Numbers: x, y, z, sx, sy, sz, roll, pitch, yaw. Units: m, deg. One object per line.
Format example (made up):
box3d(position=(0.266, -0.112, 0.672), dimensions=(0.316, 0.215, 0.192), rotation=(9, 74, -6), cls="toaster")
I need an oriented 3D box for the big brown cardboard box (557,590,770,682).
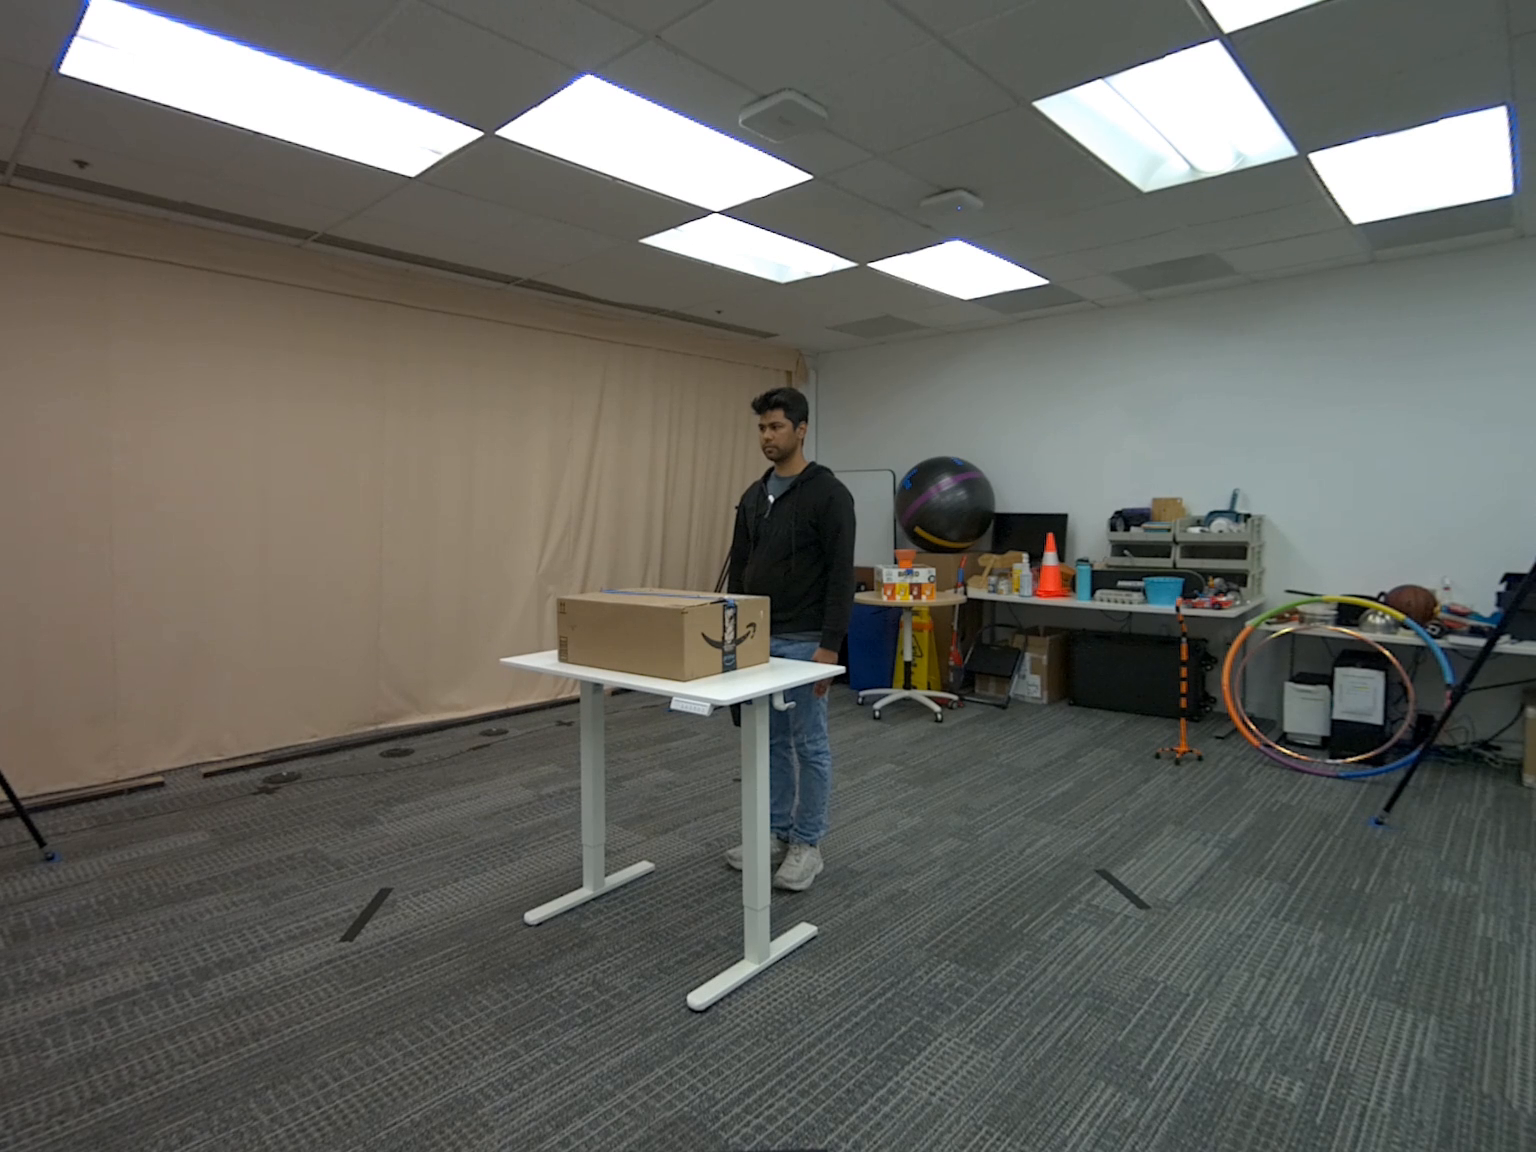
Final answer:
box3d(position=(-0.338, 0.173, 2.757), dimensions=(0.608, 0.233, 0.405), rotation=(2, 4, 38), cls="big brown cardboard box")
